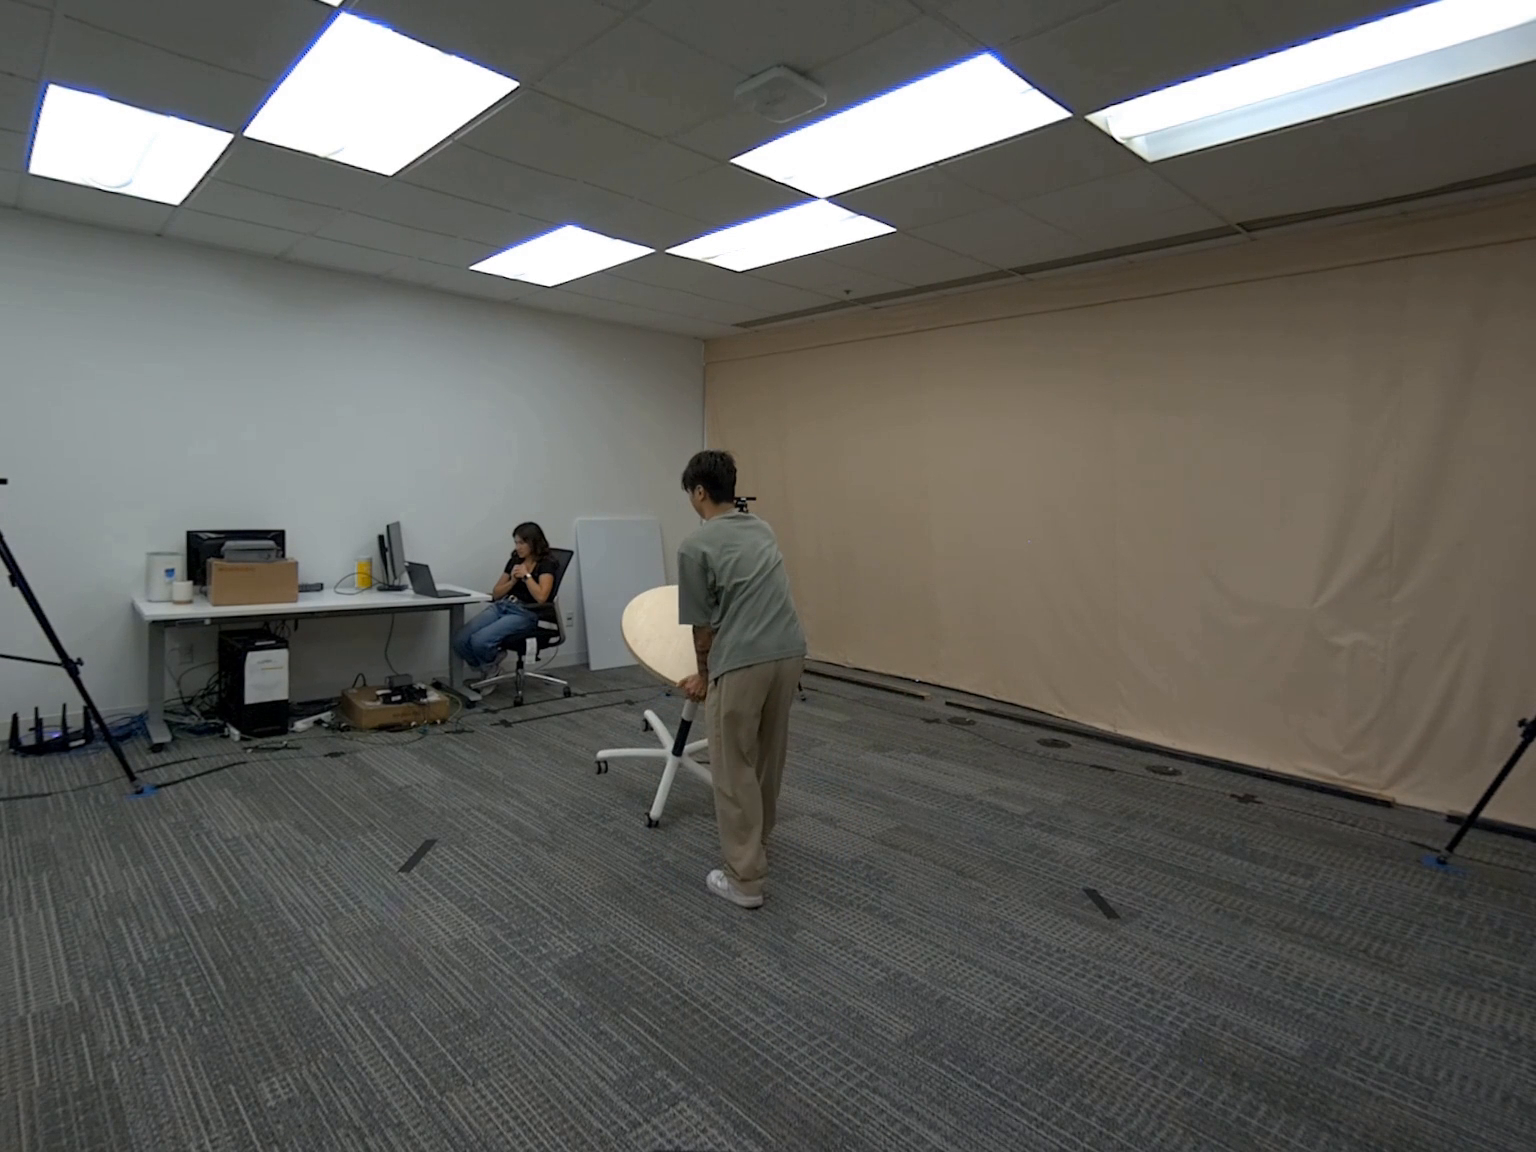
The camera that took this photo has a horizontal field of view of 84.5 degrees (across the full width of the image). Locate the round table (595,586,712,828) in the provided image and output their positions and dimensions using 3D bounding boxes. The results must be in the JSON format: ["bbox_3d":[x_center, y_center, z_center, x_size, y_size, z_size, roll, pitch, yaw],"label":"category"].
[{"bbox_3d":[-0.336,0.582,3.685,0.780,0.777,0.800,12,28,-8],"label":"round table"}]
